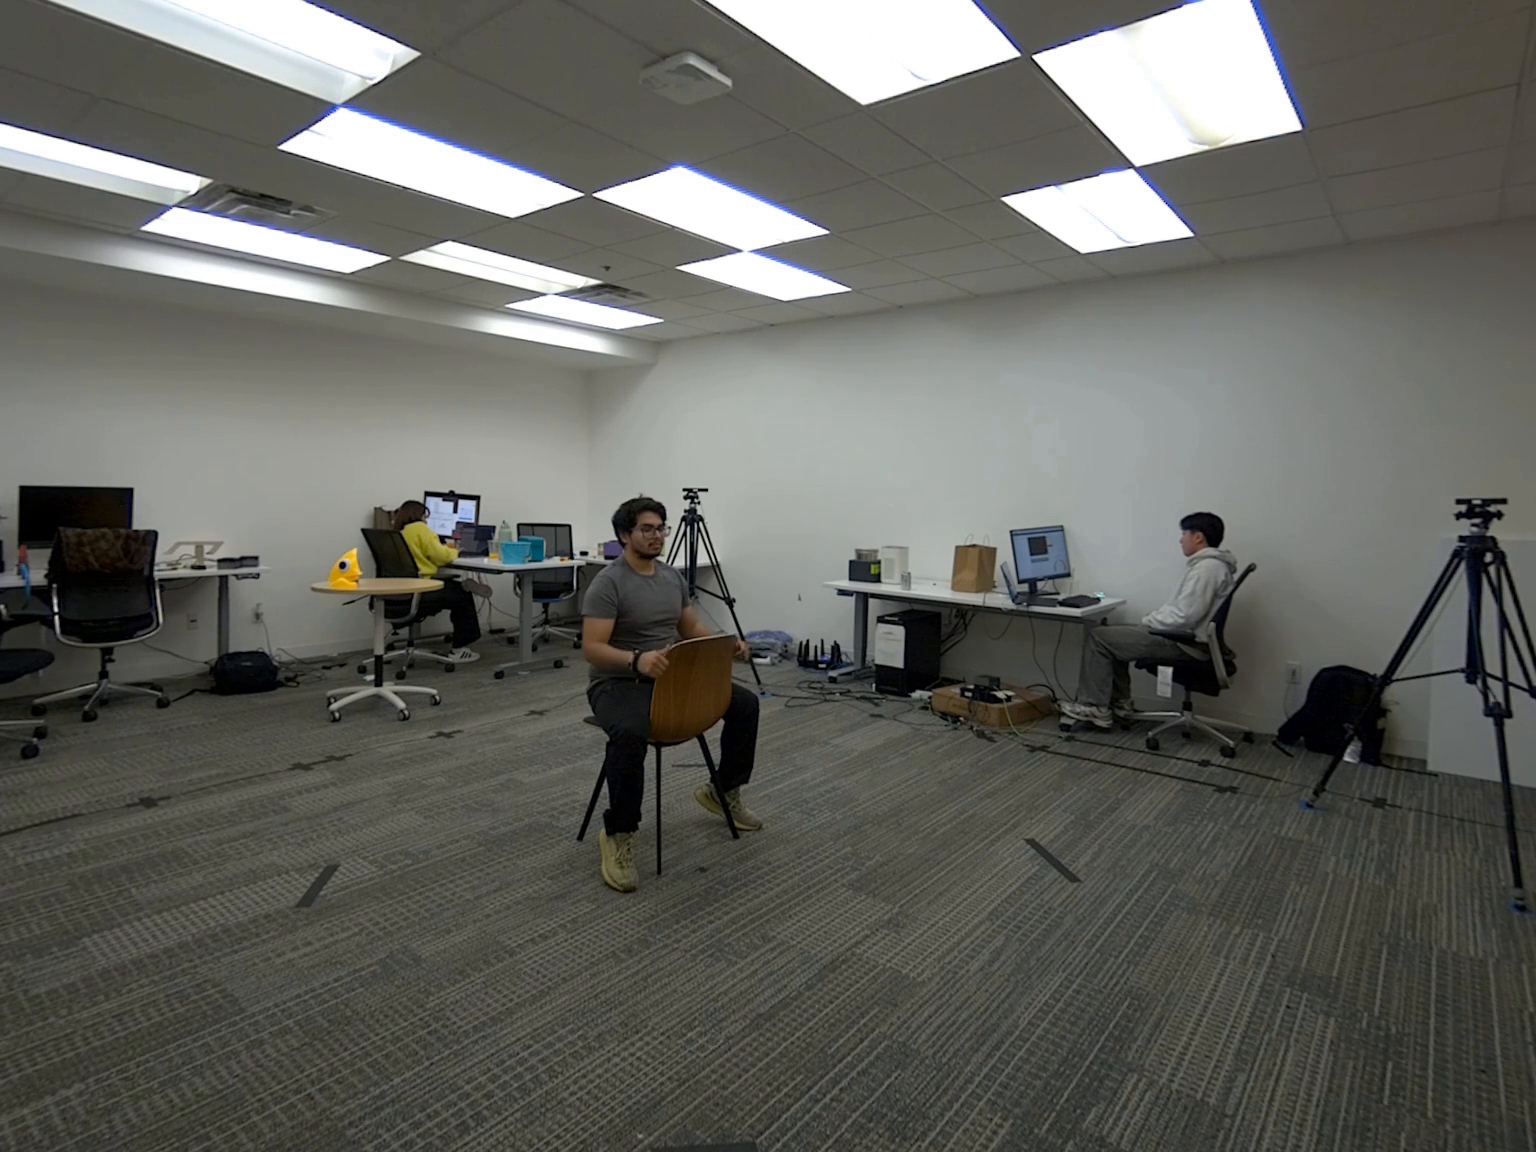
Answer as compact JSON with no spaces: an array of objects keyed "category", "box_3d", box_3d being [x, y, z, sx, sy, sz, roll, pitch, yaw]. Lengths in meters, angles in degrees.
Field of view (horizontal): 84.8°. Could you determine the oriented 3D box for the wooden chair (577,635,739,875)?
[{"category":"wooden chair","box_3d":[-0.439,0.618,3.348,0.542,0.873,0.464,10,8,39]}]
